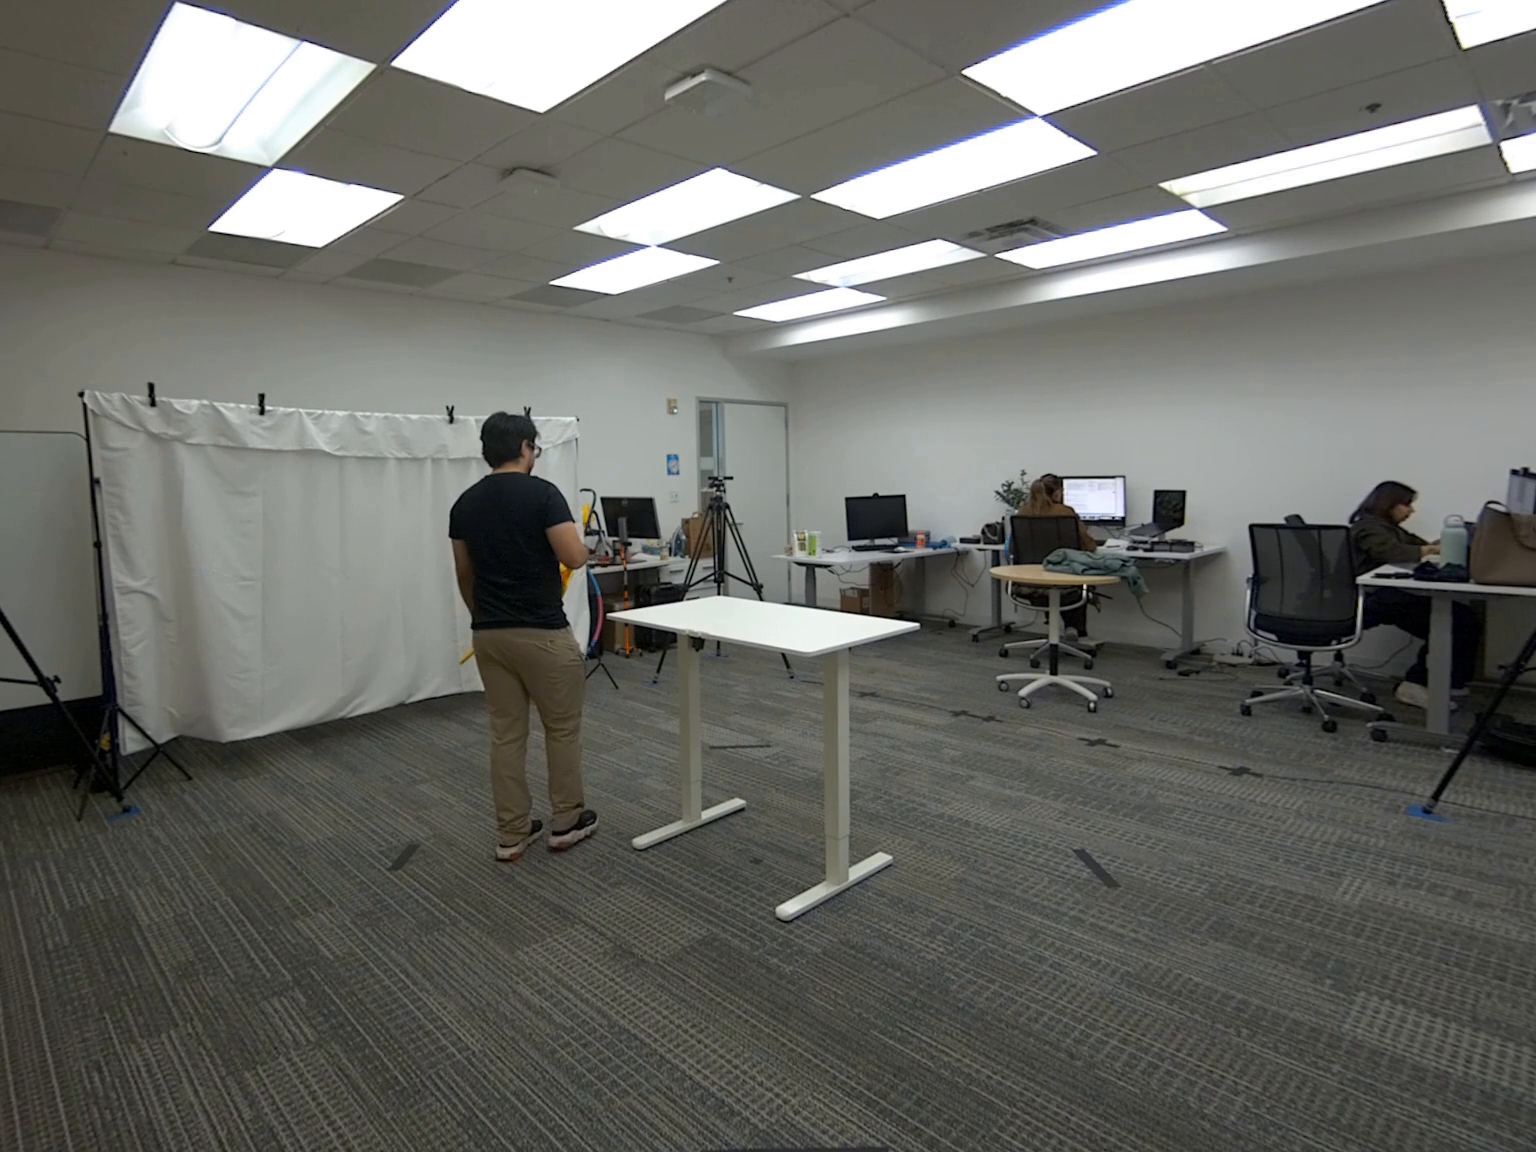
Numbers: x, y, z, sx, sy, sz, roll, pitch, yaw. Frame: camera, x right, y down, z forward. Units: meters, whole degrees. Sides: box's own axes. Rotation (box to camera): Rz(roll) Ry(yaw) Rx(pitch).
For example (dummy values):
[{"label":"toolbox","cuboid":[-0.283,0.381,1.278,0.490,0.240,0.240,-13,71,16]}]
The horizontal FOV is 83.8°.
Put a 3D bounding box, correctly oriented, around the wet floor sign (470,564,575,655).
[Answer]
[{"label":"wet floor sign","cuboid":[-0.945,0.144,3.521,0.285,0.645,0.287,36,18,-13]}]
